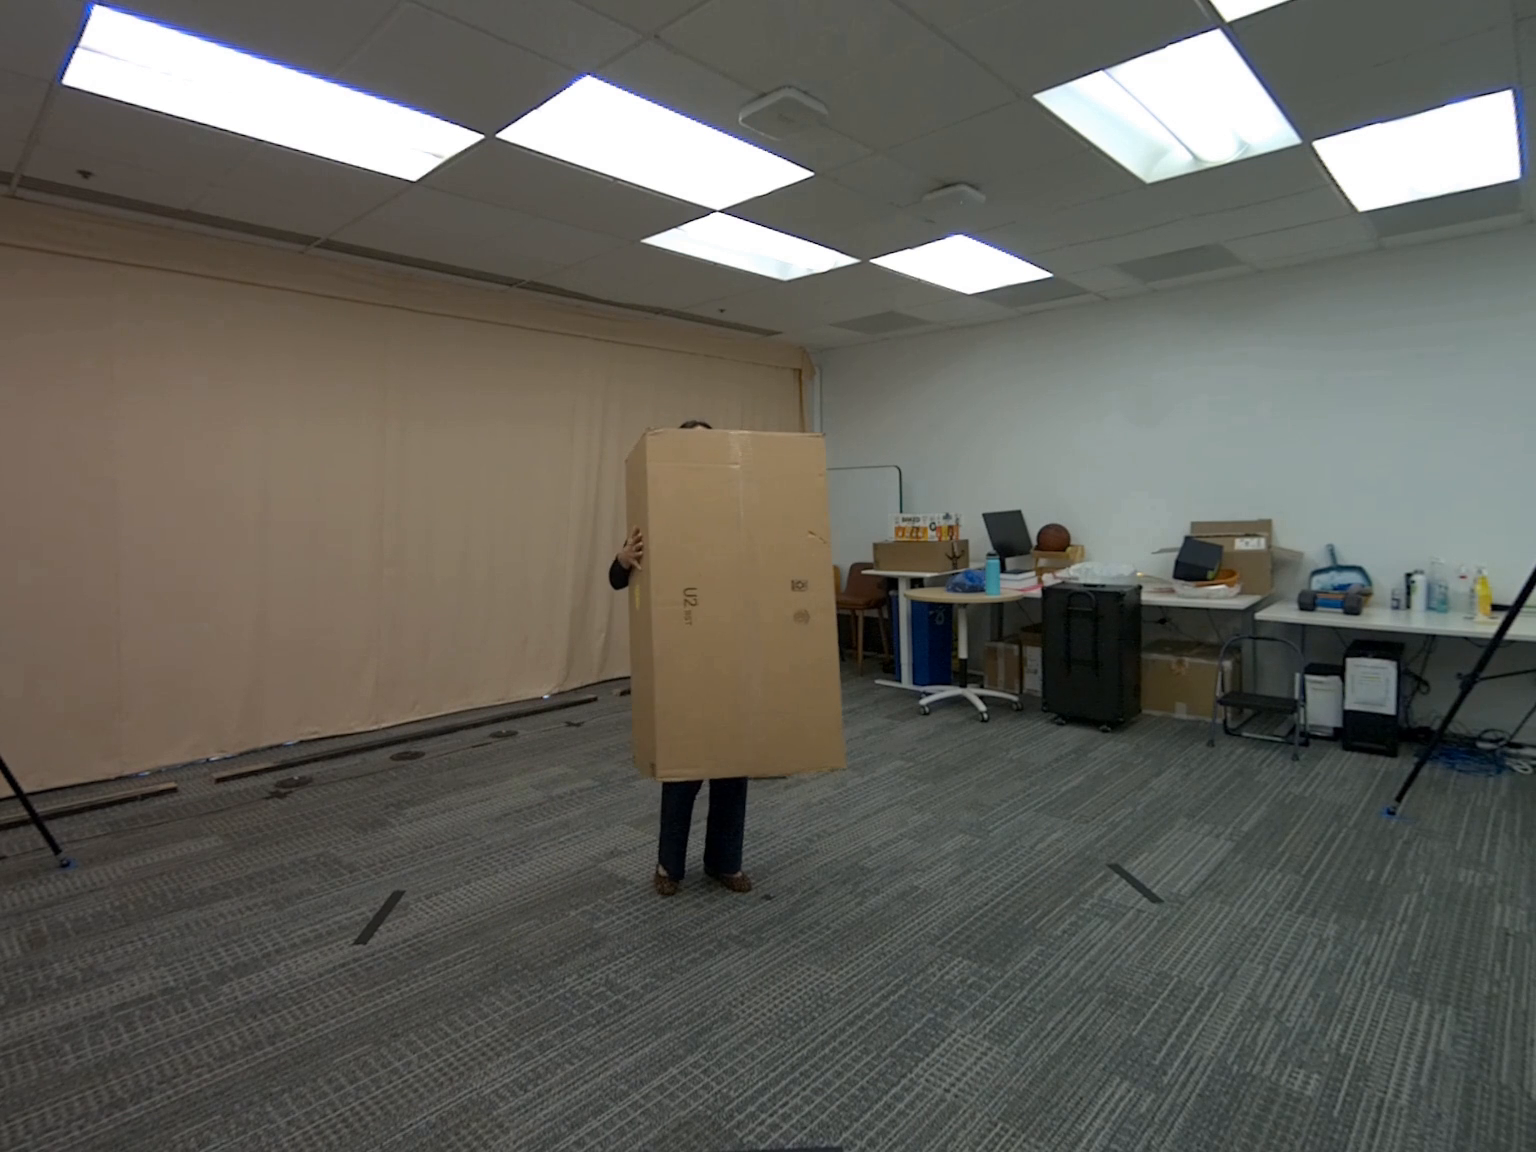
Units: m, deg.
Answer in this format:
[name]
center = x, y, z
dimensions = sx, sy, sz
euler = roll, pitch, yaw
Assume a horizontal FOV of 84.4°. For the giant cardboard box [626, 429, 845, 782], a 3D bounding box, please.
[giant cardboard box]
center = -0.130, 0.092, 2.690
dimensions = 0.568, 1.031, 0.431
euler = -1, -8, -16
